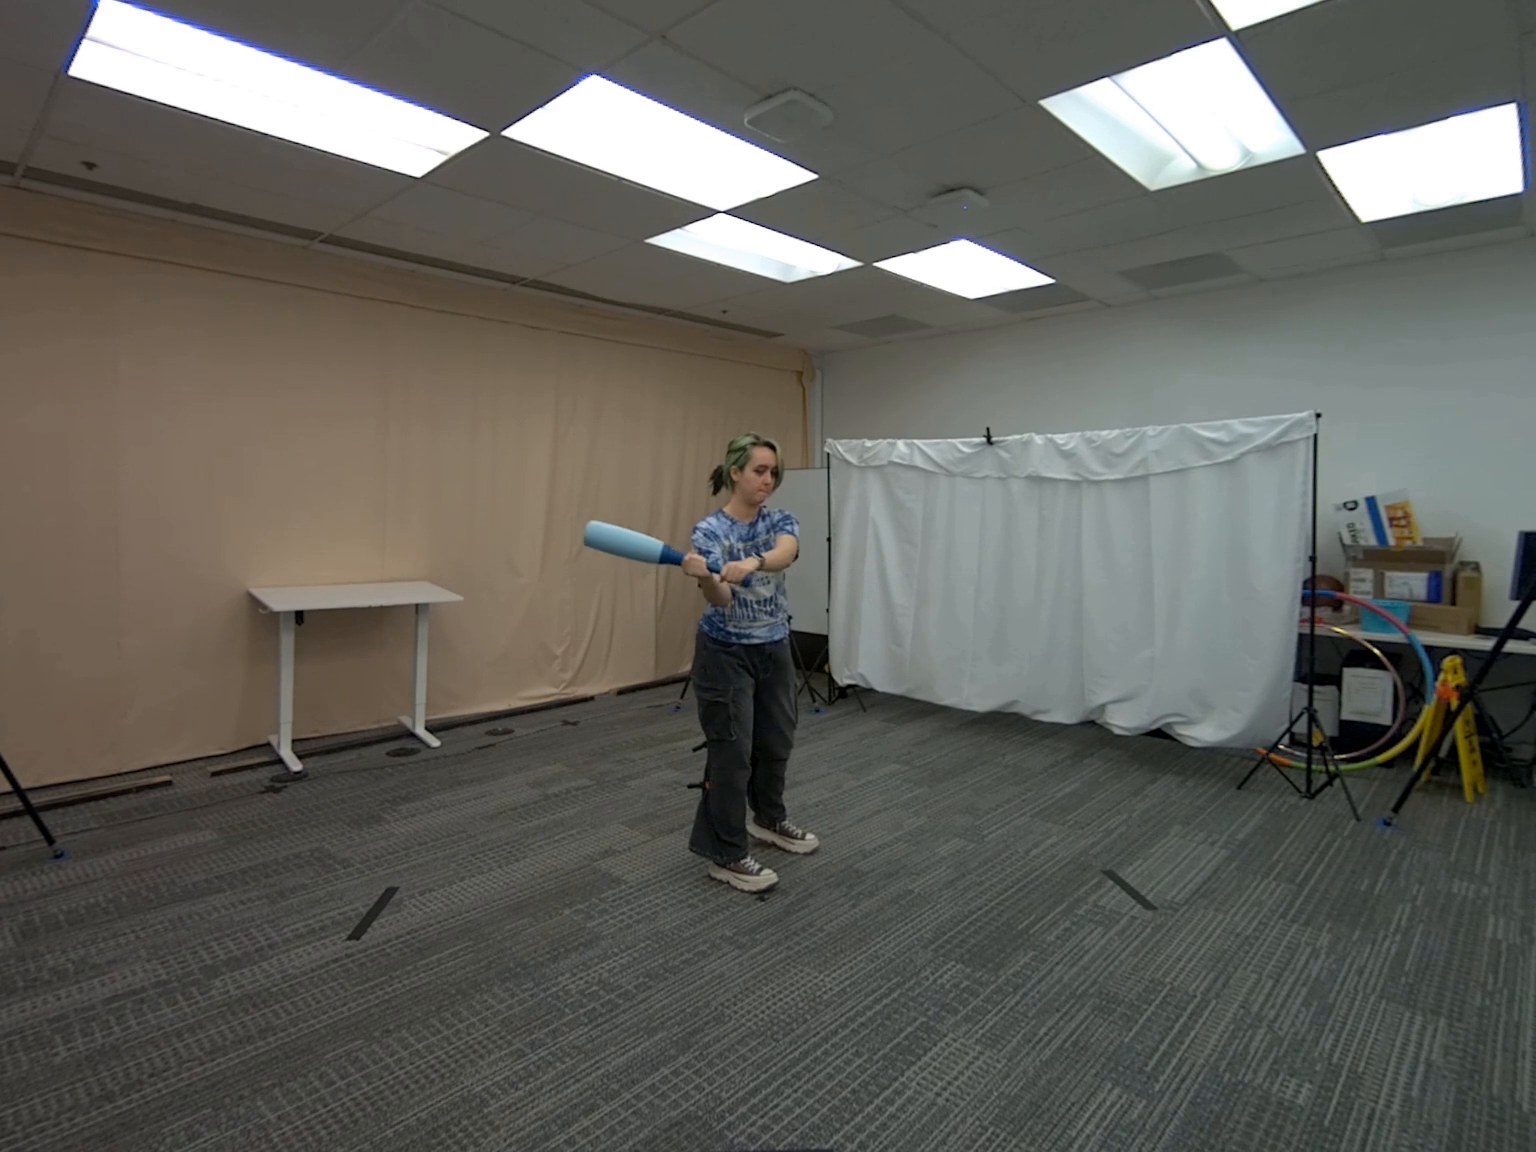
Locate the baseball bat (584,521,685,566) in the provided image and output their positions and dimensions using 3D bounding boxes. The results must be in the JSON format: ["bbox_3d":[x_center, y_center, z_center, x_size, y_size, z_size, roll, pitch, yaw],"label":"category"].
[{"bbox_3d":[-0.291,-0.060,2.628,0.545,0.089,0.089,18,4,3],"label":"baseball bat"}]
